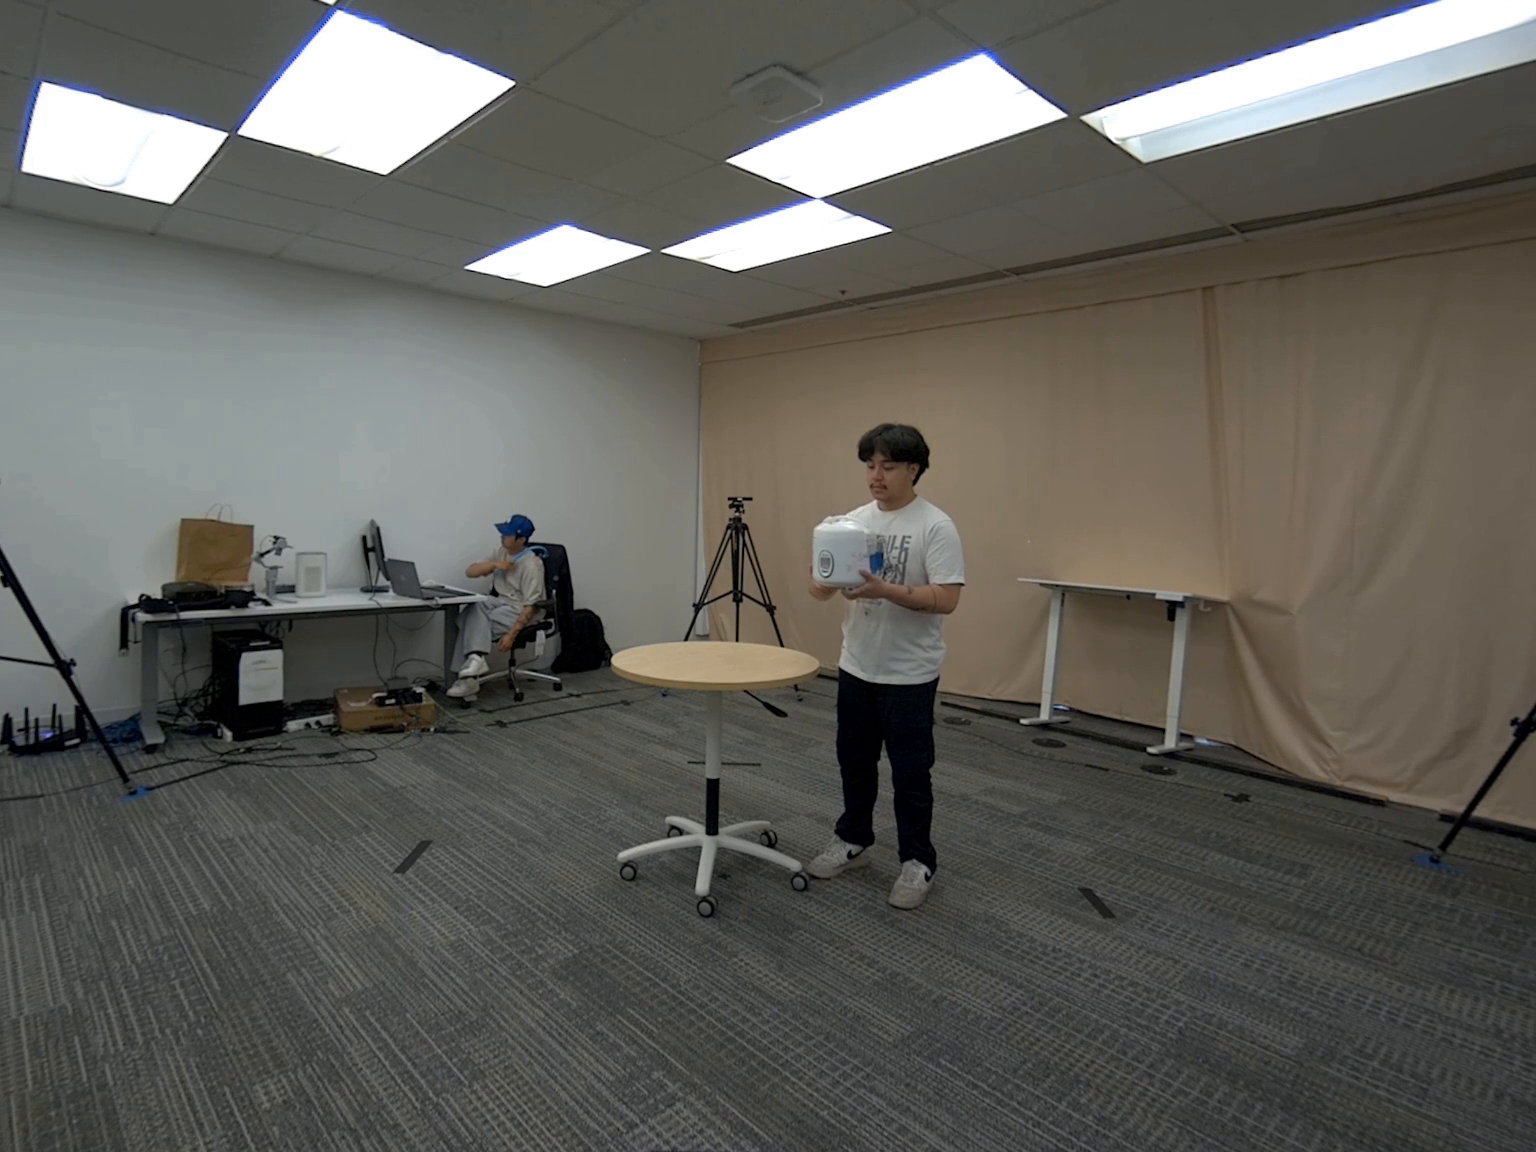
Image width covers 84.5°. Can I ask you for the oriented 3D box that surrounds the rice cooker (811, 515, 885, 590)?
[{"bbox_3d":[0.249,-0.086,2.801,0.226,0.232,0.213,6,7,40],"label":"rice cooker"}]
